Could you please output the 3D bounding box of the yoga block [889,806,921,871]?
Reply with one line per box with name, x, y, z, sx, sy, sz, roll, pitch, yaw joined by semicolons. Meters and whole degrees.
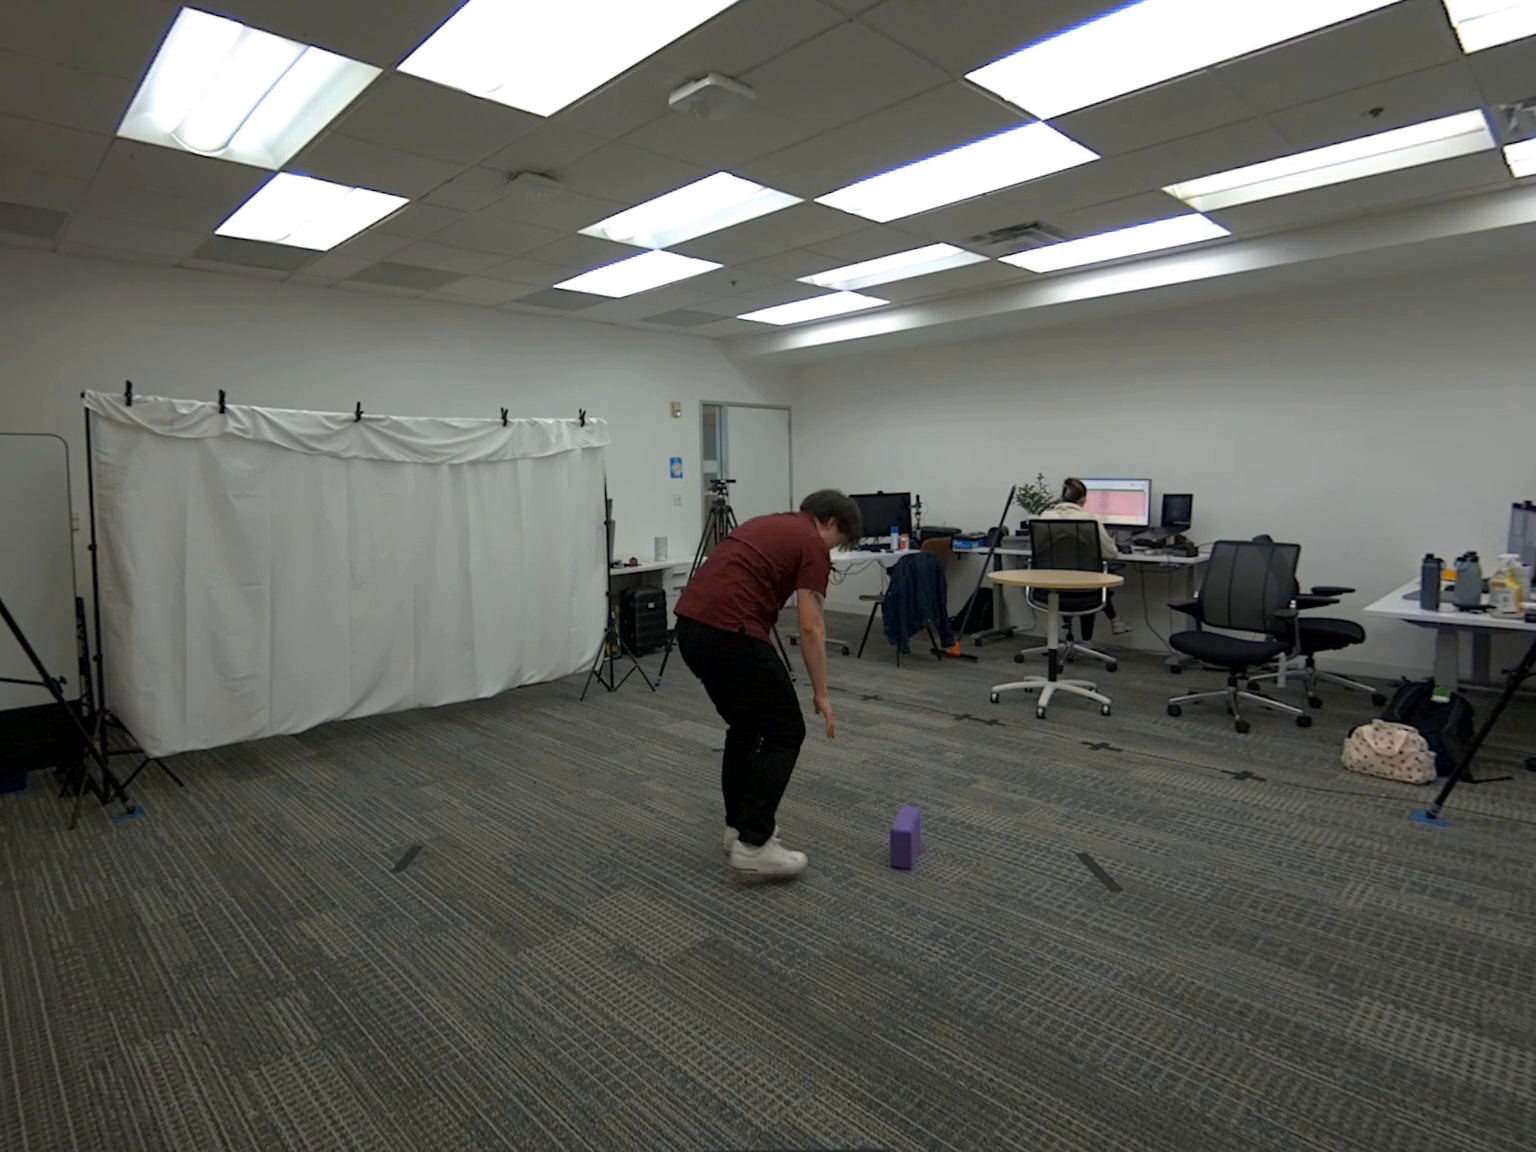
yoga block;0.505;0.954;3.142;0.078;0.148;0.226;0;6;18
